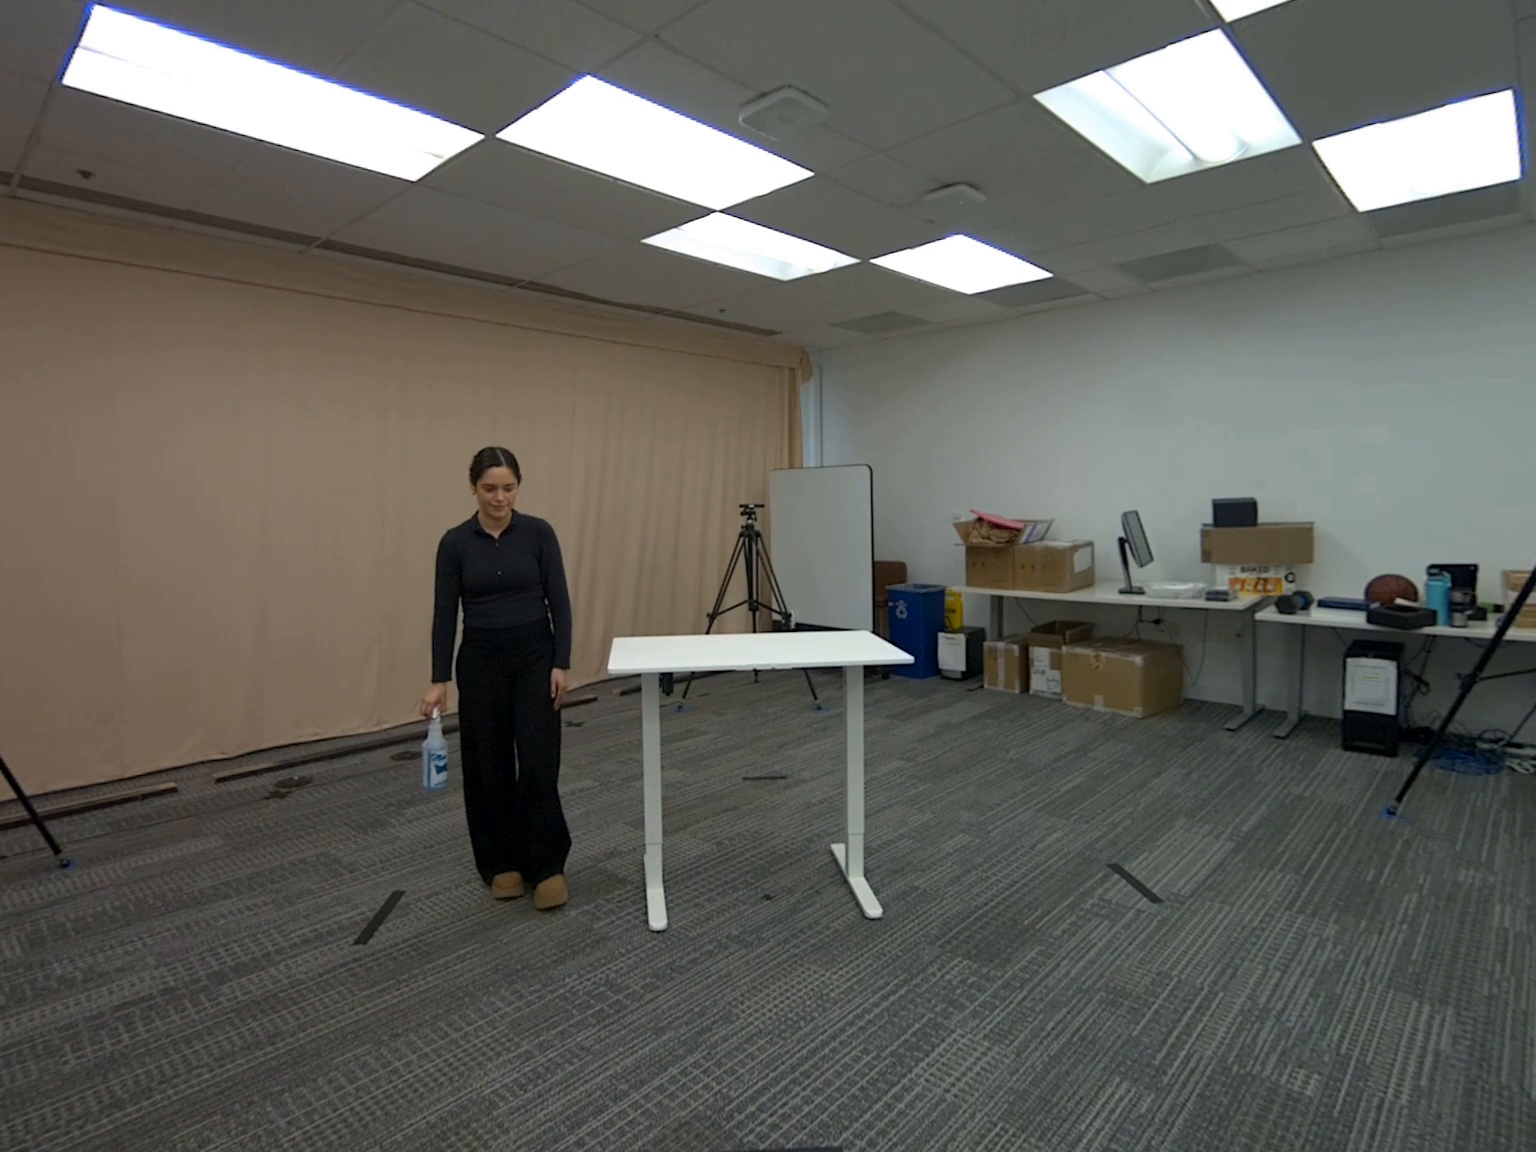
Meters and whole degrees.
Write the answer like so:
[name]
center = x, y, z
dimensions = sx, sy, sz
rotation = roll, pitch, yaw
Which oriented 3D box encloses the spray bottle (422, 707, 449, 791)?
[spray bottle]
center = -1.163, 0.602, 2.972
dimensions = 0.088, 0.296, 0.090
rotation = 4, 7, 5
